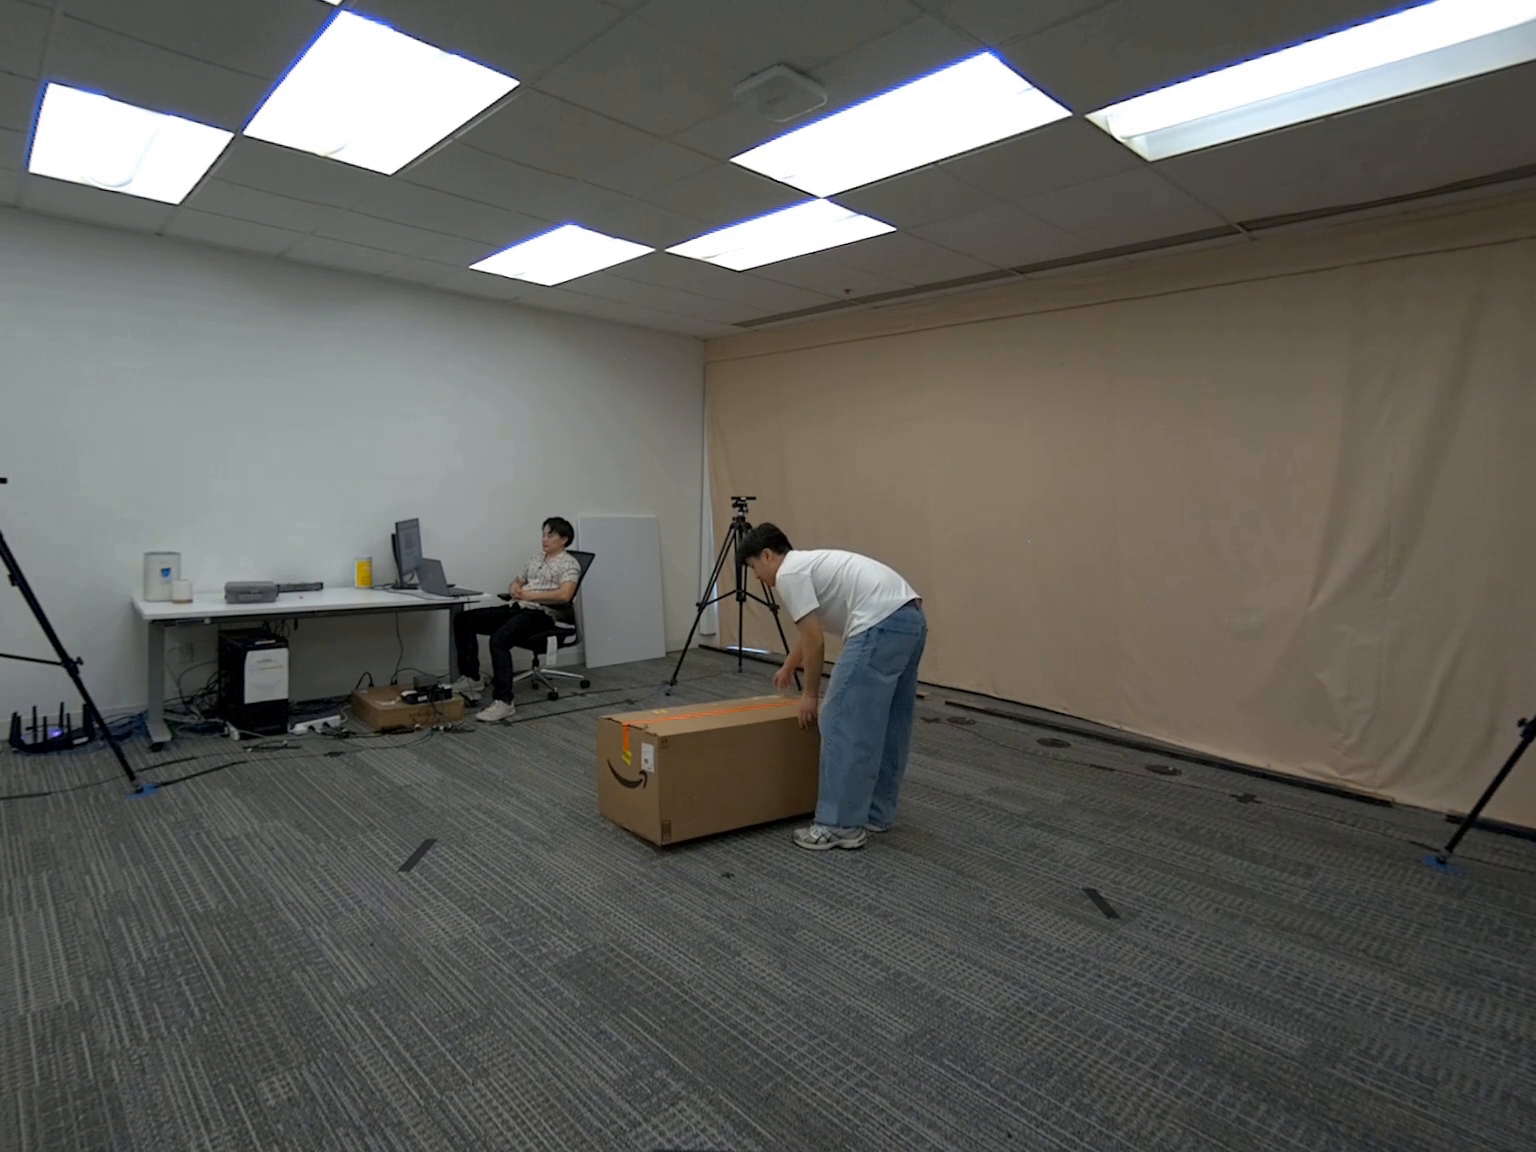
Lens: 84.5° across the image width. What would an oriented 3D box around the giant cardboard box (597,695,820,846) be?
[{"bbox_3d":[-0.176,0.810,3.733,1.004,0.426,0.590,-2,1,-34],"label":"giant cardboard box"}]
